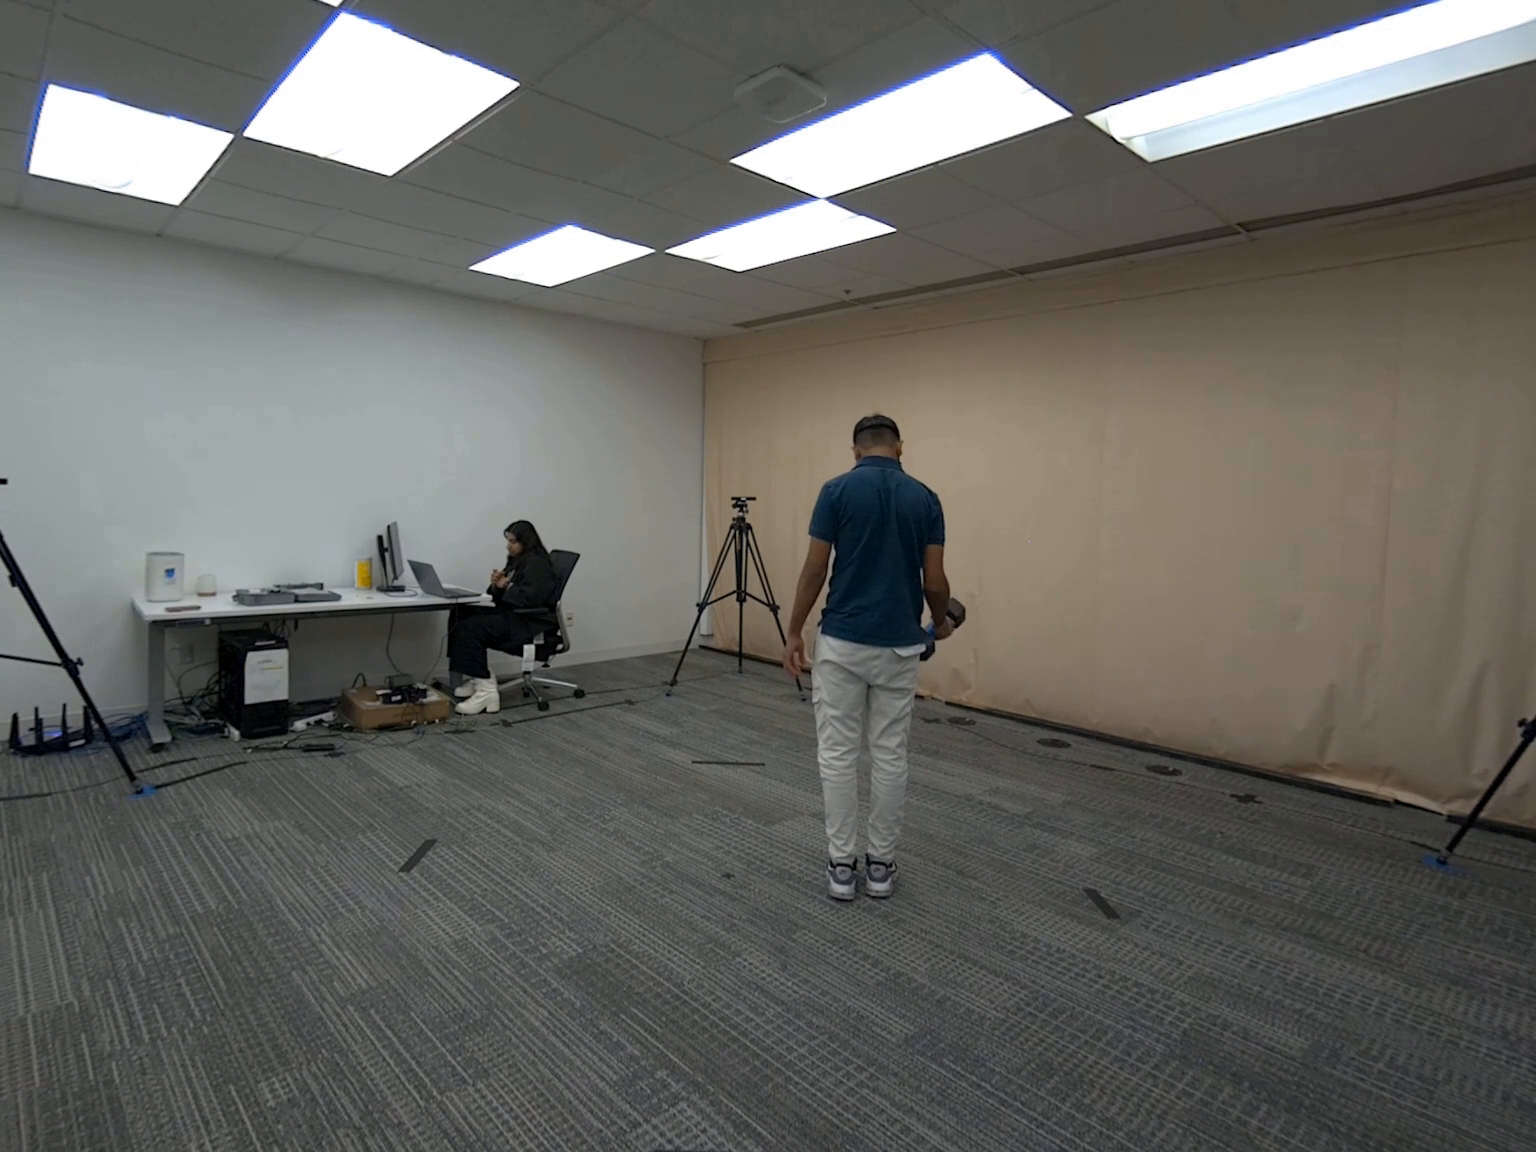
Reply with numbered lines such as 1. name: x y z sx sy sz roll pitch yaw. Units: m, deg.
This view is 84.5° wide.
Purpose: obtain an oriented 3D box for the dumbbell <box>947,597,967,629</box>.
1. dumbbell: 0.637 0.199 3.202 0.292 0.107 0.125 -39 15 -30
